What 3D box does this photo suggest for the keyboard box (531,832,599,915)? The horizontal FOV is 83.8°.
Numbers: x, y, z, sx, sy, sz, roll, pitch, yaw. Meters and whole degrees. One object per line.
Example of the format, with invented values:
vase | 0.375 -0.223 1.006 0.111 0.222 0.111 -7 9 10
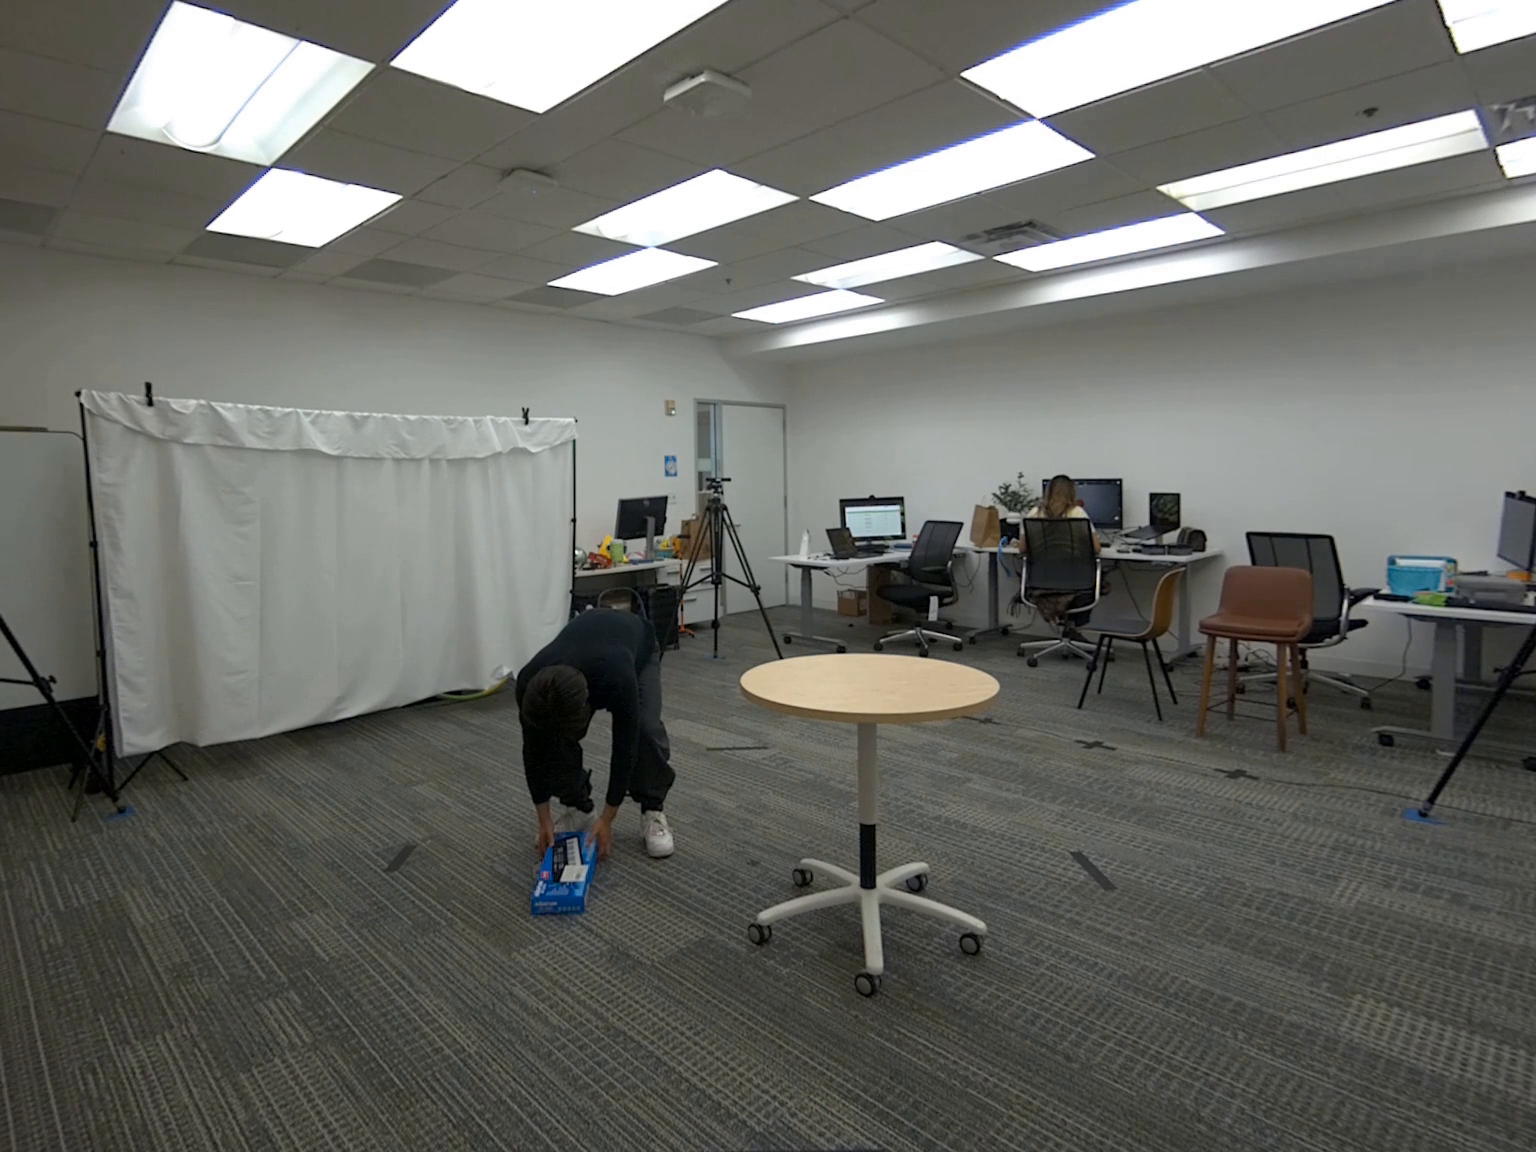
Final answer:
keyboard box | -0.697 1.029 2.967 0.175 0.058 0.442 -2 10 -5
